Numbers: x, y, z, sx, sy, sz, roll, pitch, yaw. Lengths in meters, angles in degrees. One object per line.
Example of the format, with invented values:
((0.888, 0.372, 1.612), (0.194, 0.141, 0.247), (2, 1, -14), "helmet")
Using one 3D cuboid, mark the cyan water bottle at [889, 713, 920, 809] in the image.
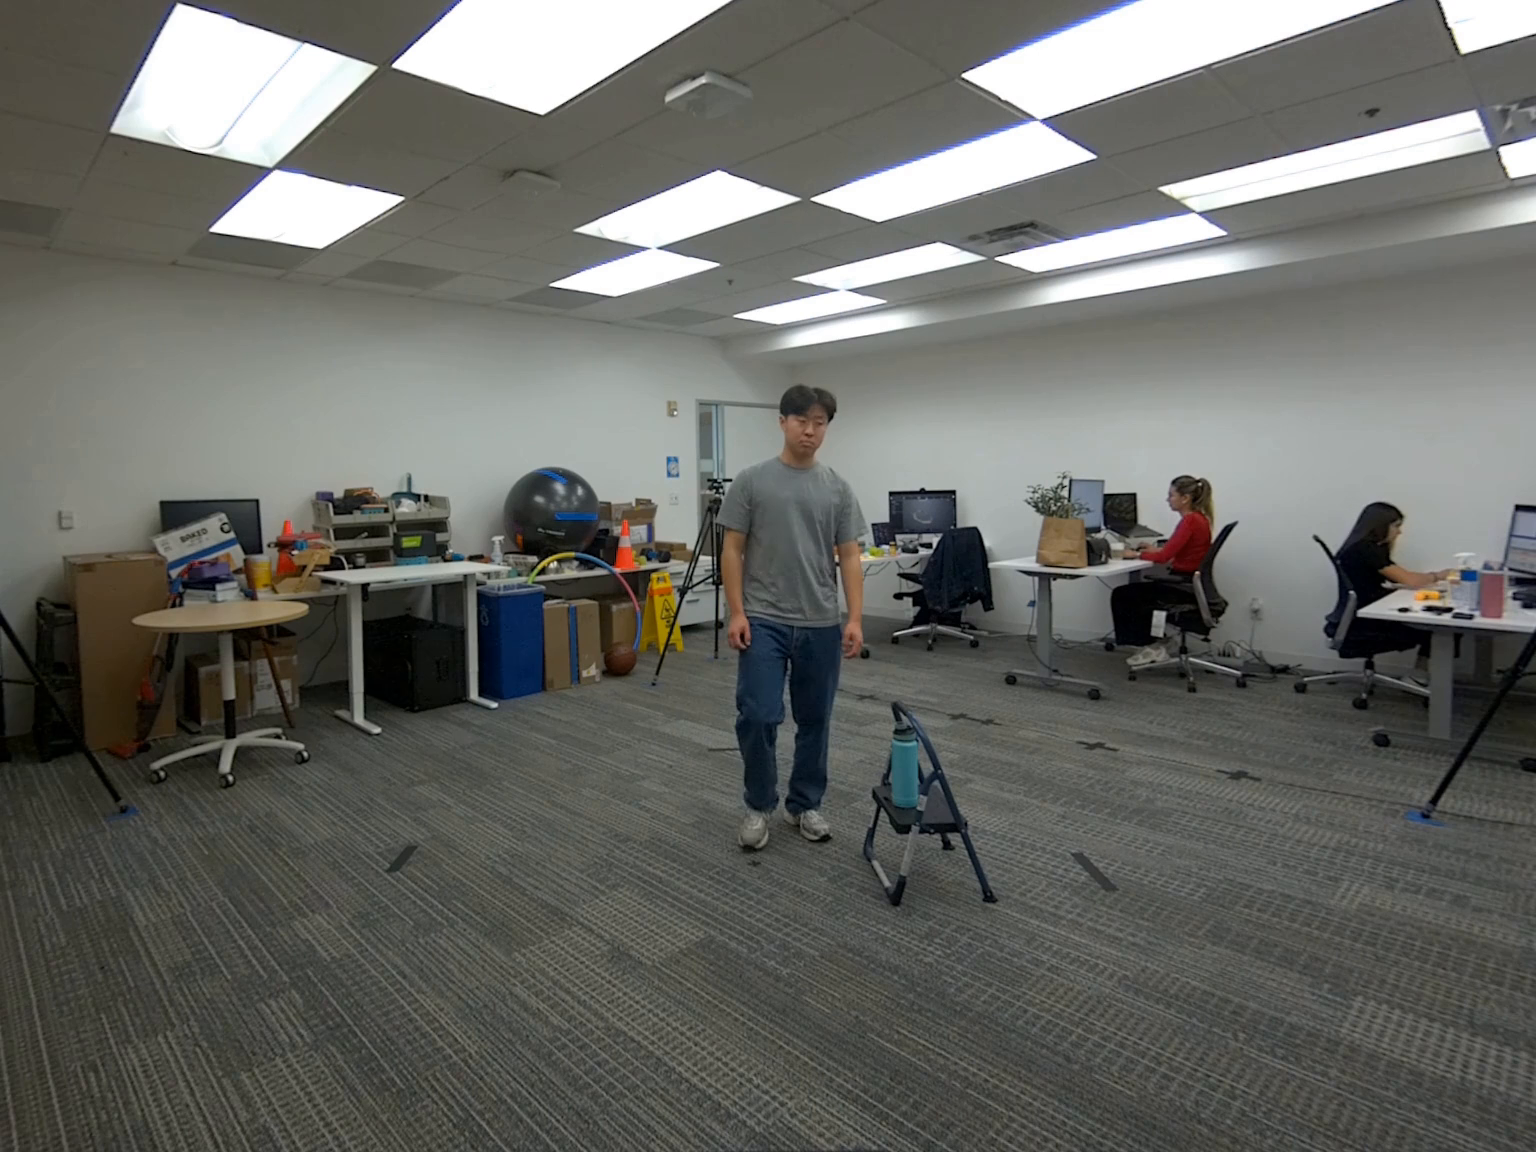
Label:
((0.481, 0.655, 2.956), (0.092, 0.282, 0.093), (2, 5, -2), "cyan water bottle")
